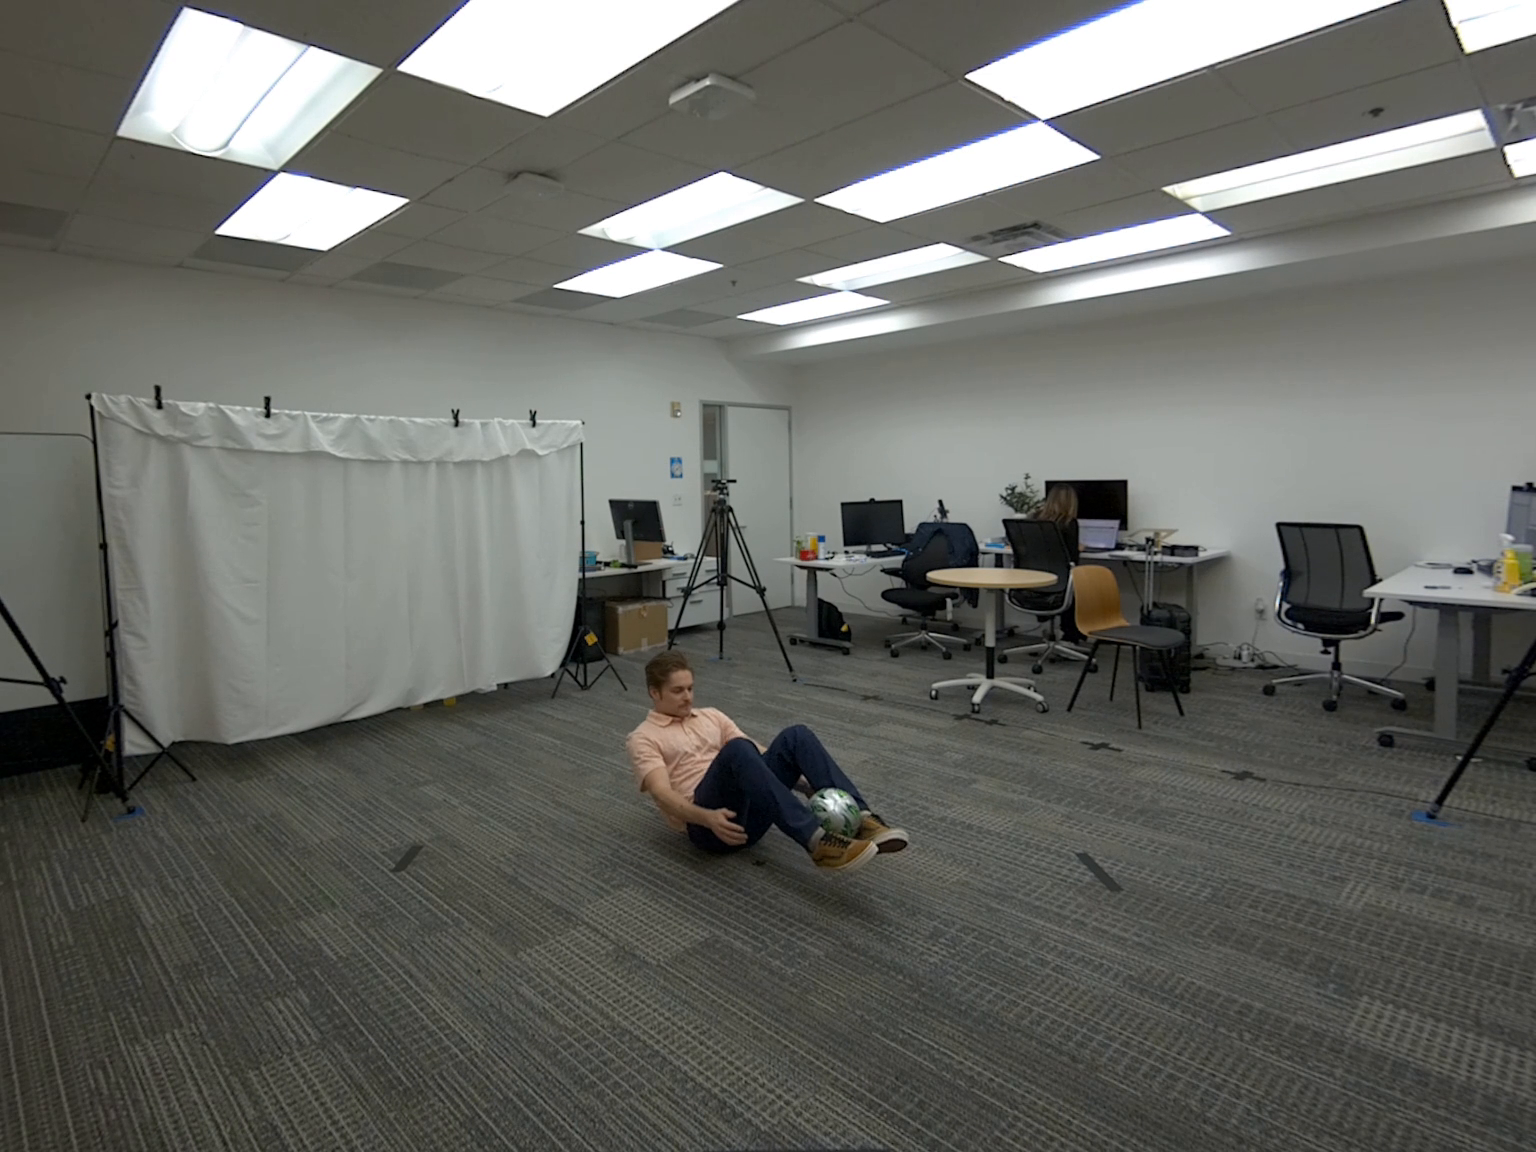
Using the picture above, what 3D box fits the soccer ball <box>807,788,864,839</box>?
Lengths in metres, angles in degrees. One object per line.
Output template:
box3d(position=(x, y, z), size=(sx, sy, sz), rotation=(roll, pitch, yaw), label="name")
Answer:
box3d(position=(0.207, 0.813, 2.863), size=(0.187, 0.187, 0.188), rotation=(-1, 5, -2), label="soccer ball")
